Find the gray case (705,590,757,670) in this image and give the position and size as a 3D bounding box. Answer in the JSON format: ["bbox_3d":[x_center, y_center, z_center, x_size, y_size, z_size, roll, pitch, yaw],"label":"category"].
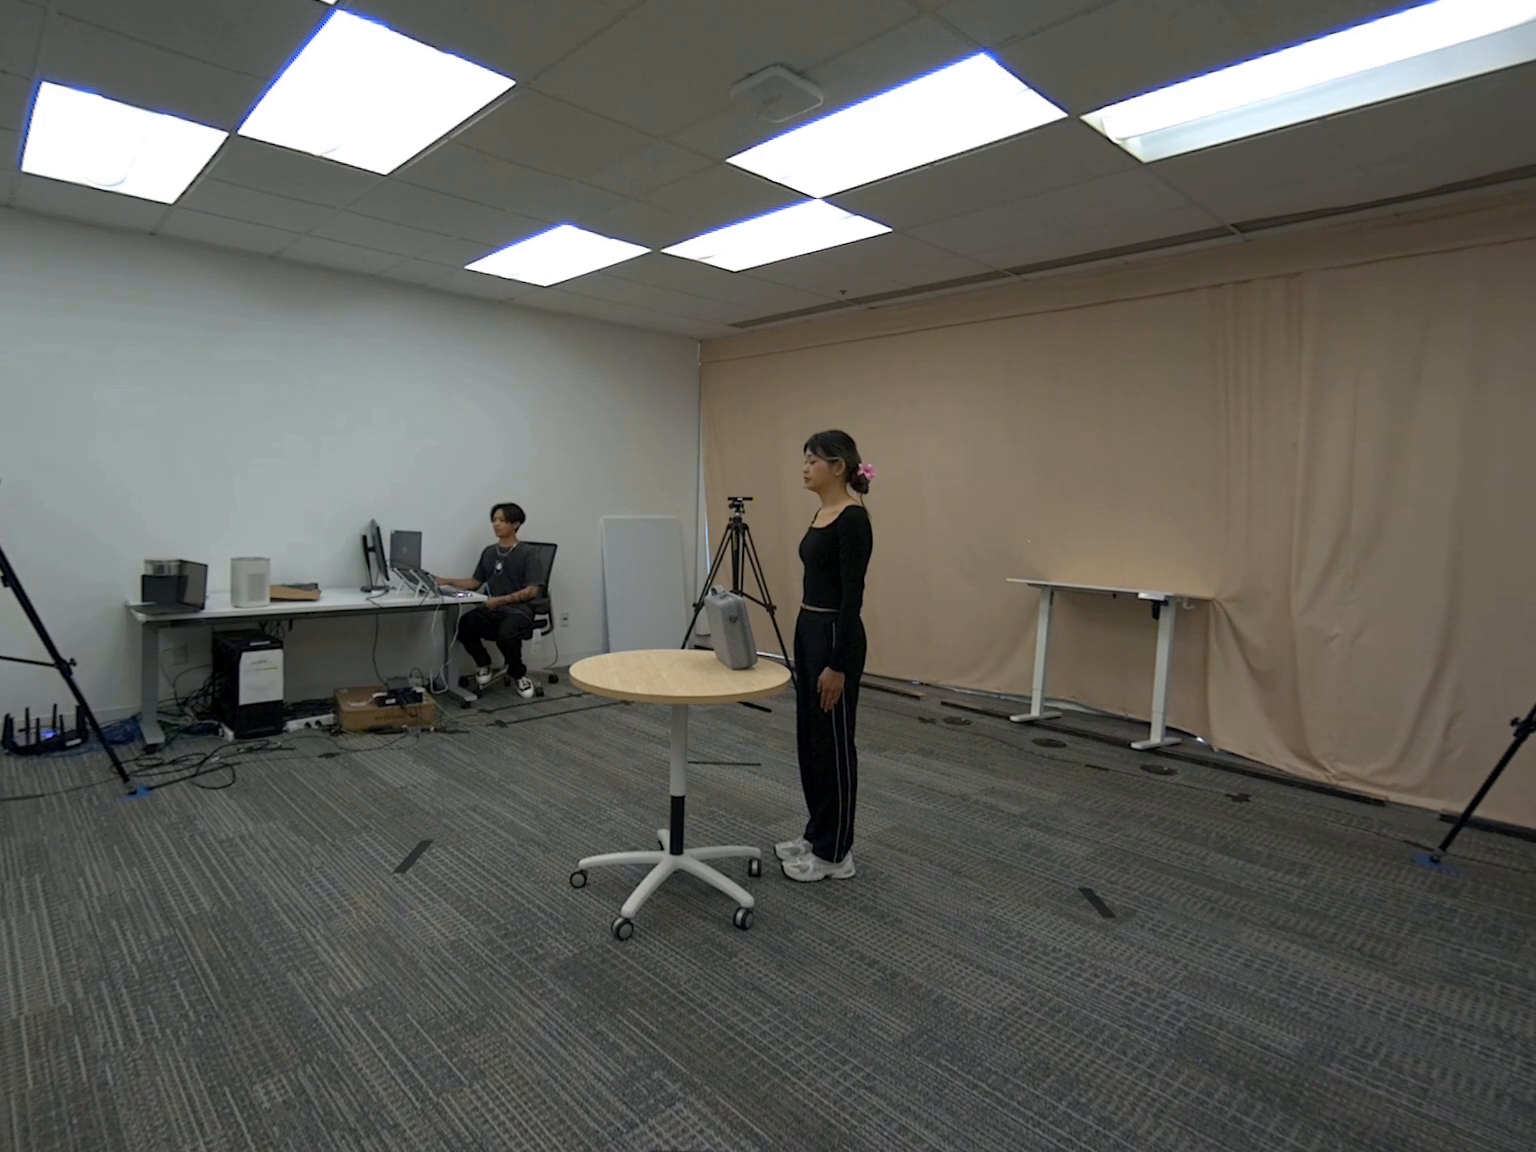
[{"bbox_3d":[-0.139,0.189,3.047,0.103,0.259,0.261,-12,7,-16],"label":"gray case"}]
